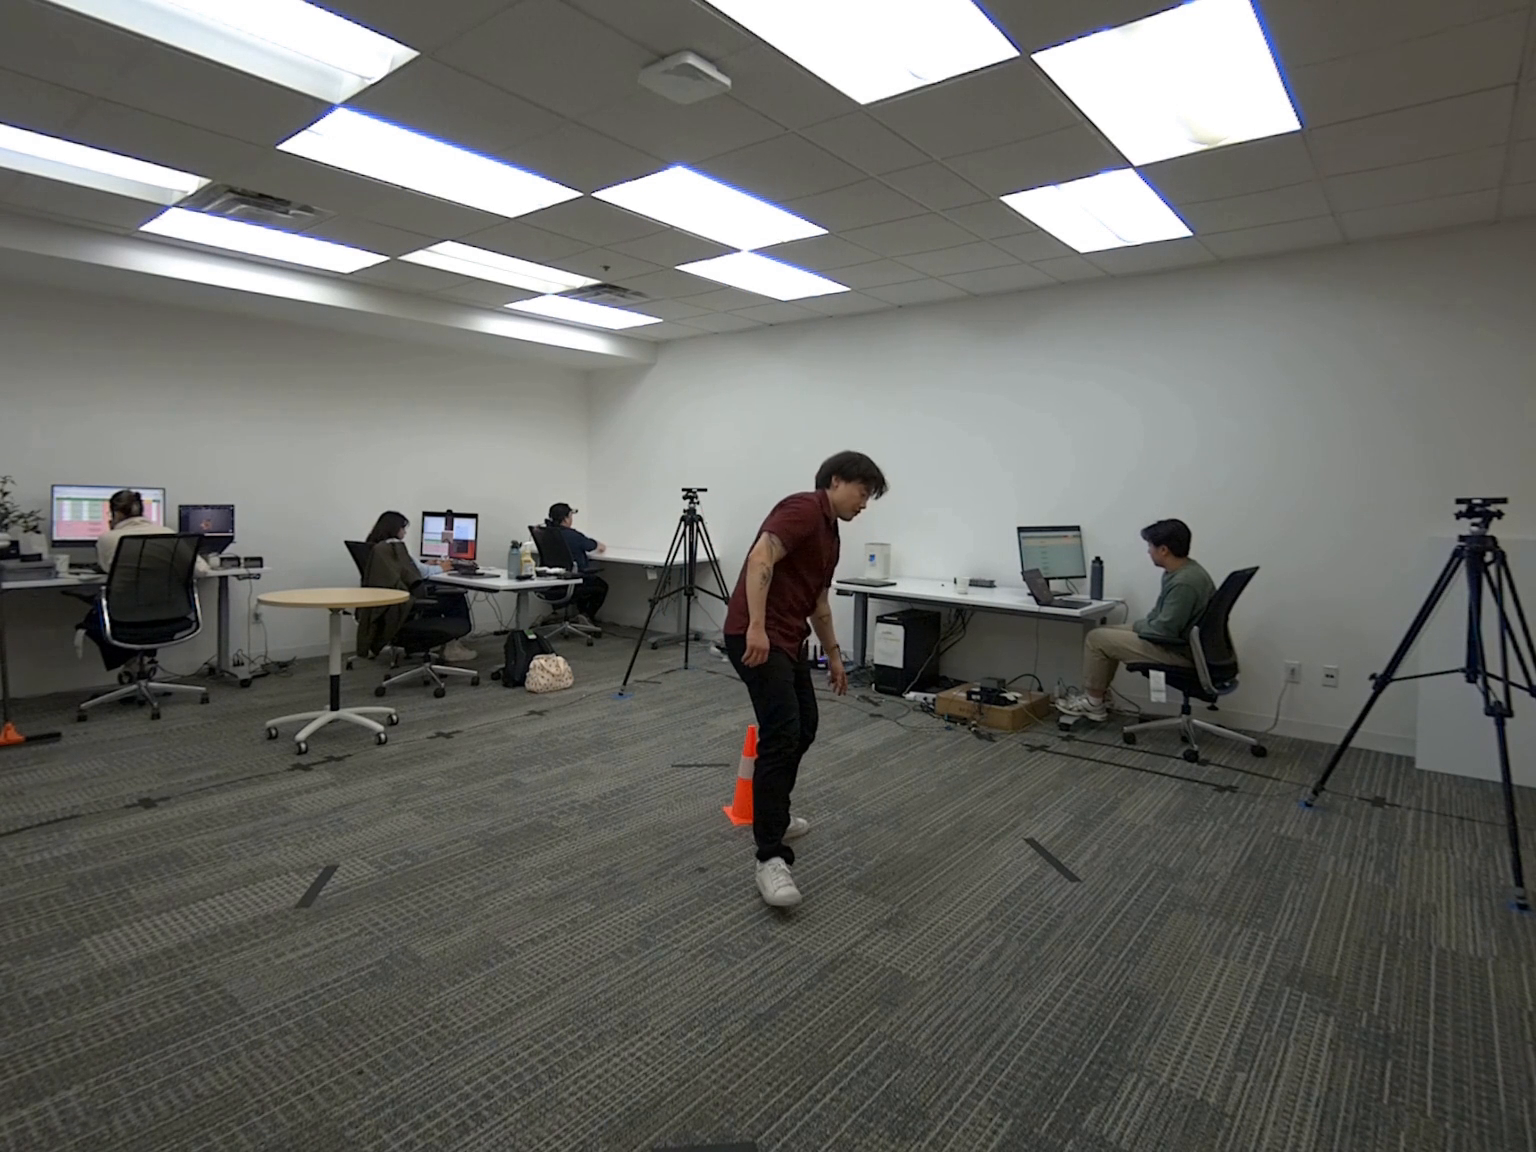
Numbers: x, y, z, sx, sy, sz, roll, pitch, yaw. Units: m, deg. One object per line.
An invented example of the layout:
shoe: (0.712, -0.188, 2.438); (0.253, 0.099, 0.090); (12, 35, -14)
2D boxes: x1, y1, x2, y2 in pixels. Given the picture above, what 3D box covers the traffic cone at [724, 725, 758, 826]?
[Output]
traffic cone: (-0.091, 0.829, 3.634); (0.199, 0.382, 0.210); (-2, 6, -20)
